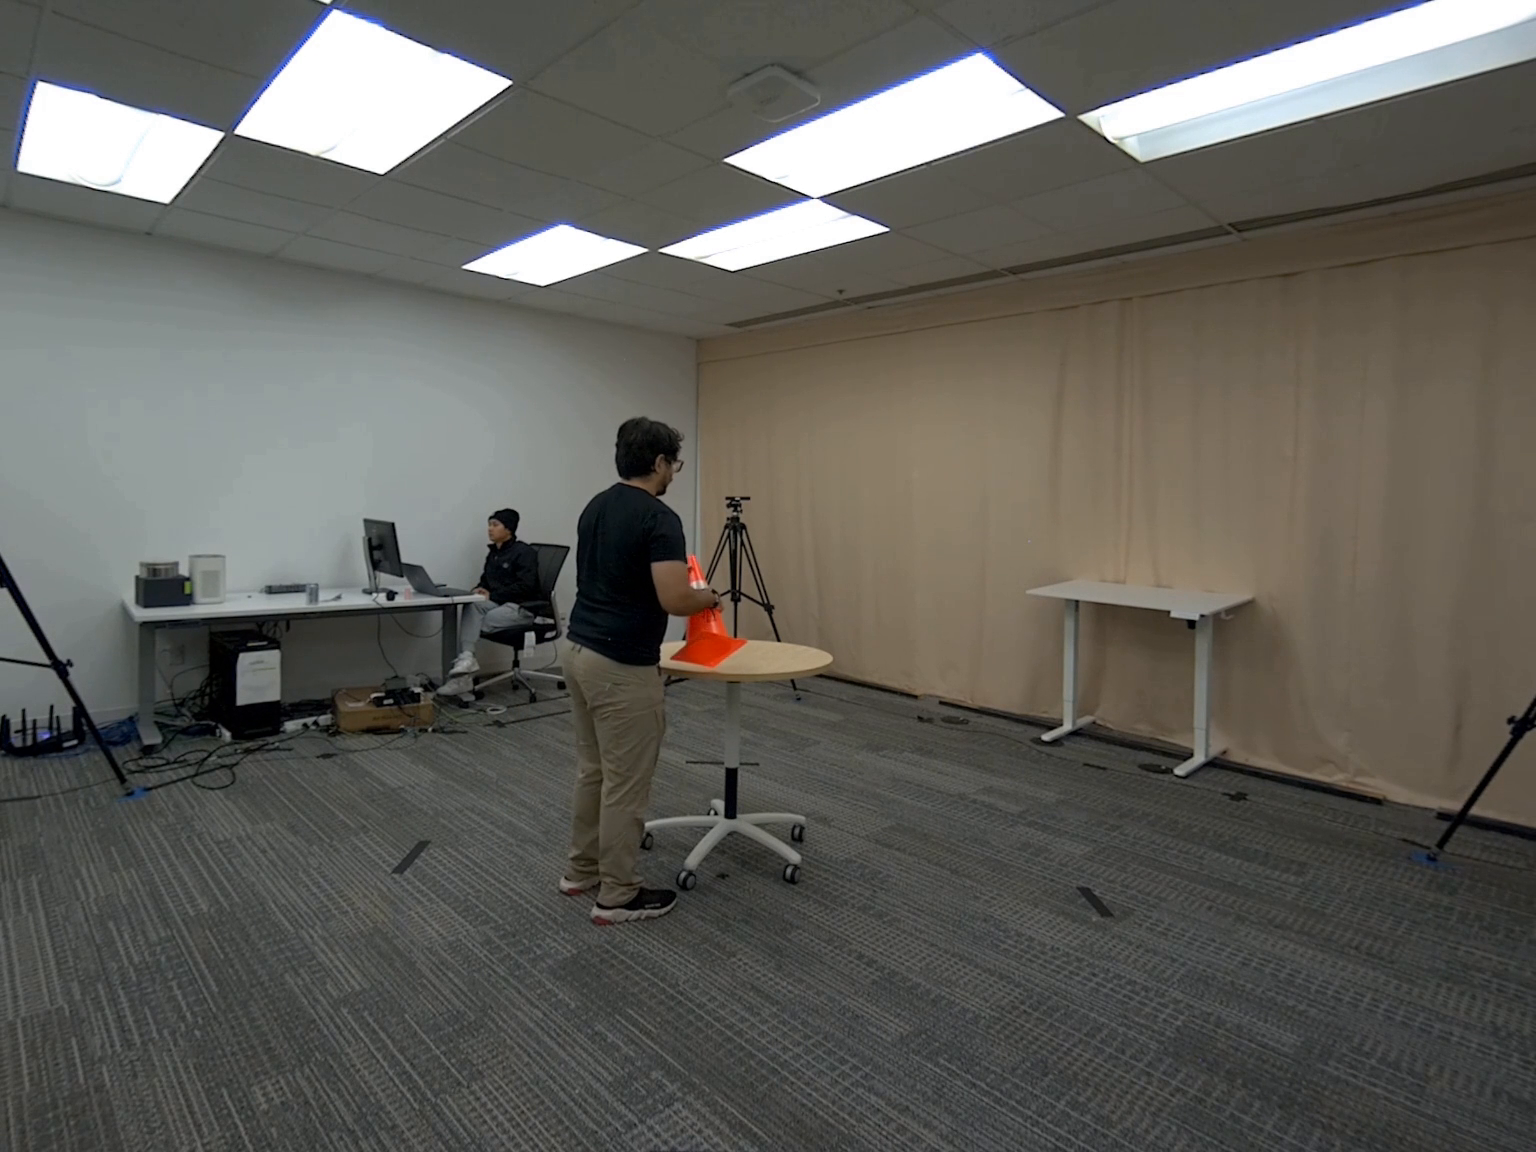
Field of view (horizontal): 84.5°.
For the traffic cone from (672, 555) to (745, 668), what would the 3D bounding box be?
[{"bbox_3d":[-0.247,0.093,2.931,0.199,0.392,0.204,20,-42,-38],"label":"traffic cone"}]
